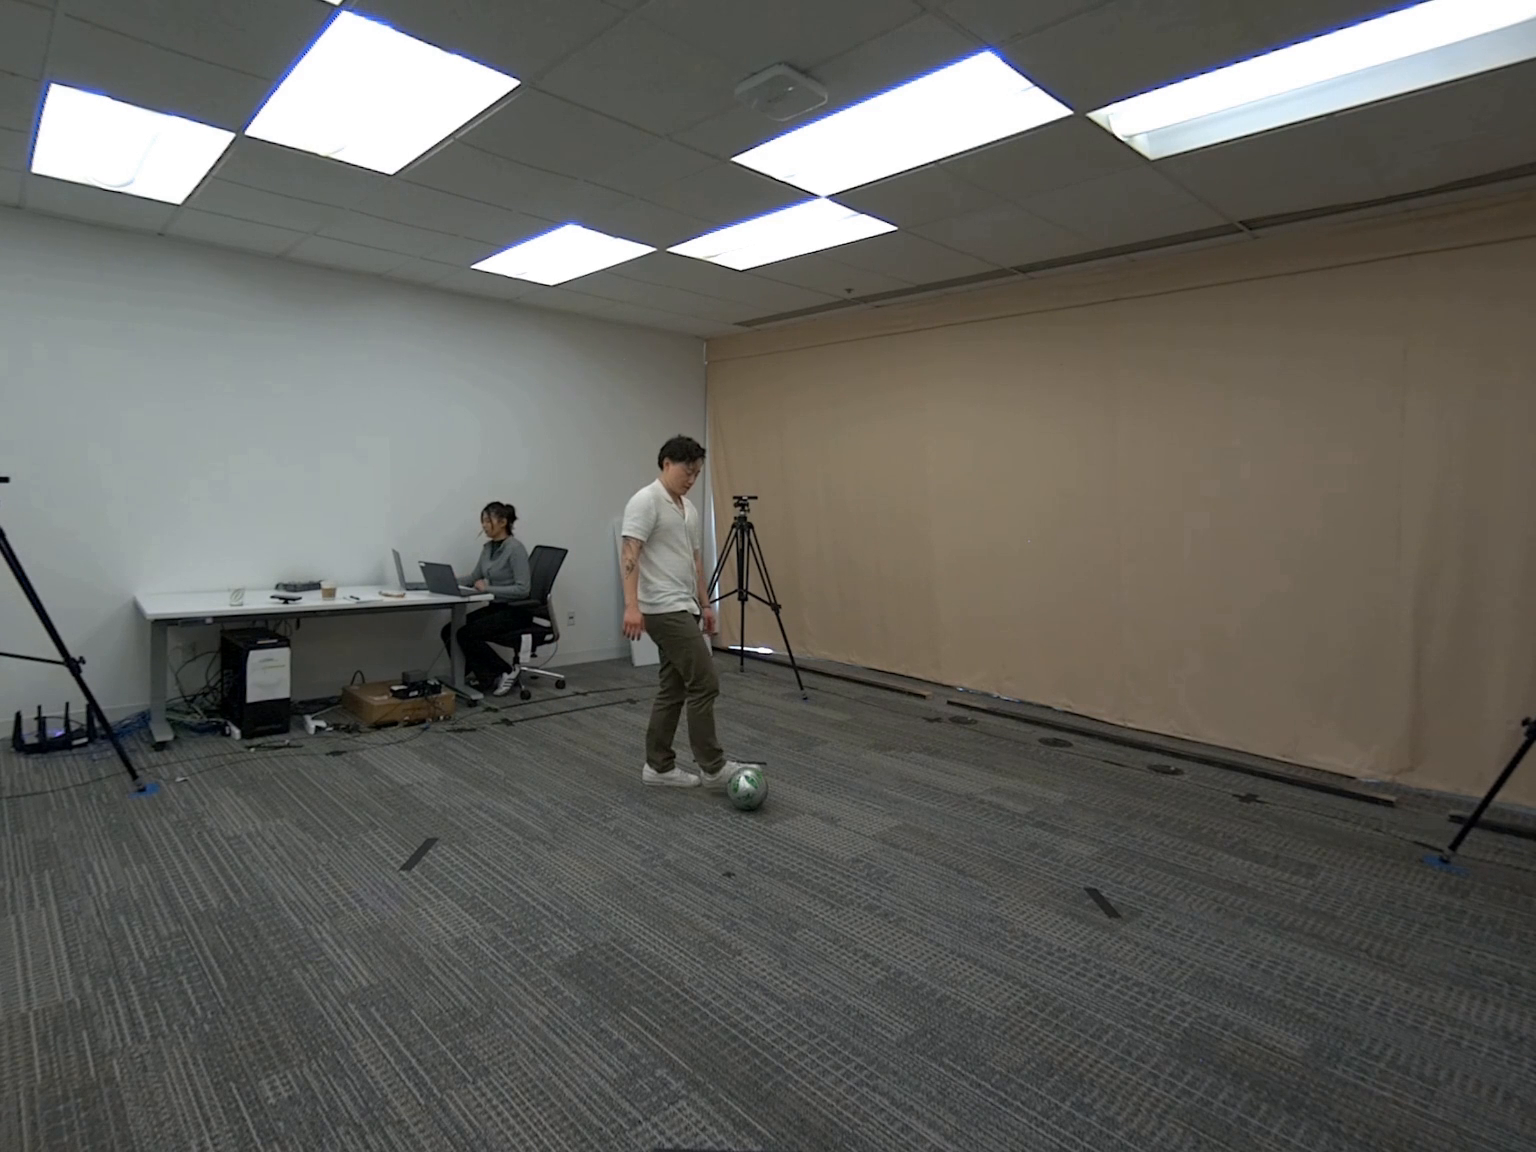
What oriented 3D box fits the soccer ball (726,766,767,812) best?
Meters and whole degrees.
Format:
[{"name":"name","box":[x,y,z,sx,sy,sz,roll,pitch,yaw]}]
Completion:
[{"name":"soccer ball","box":[-0.107,0.952,3.773,0.187,0.187,0.188,1,4,-1]}]
